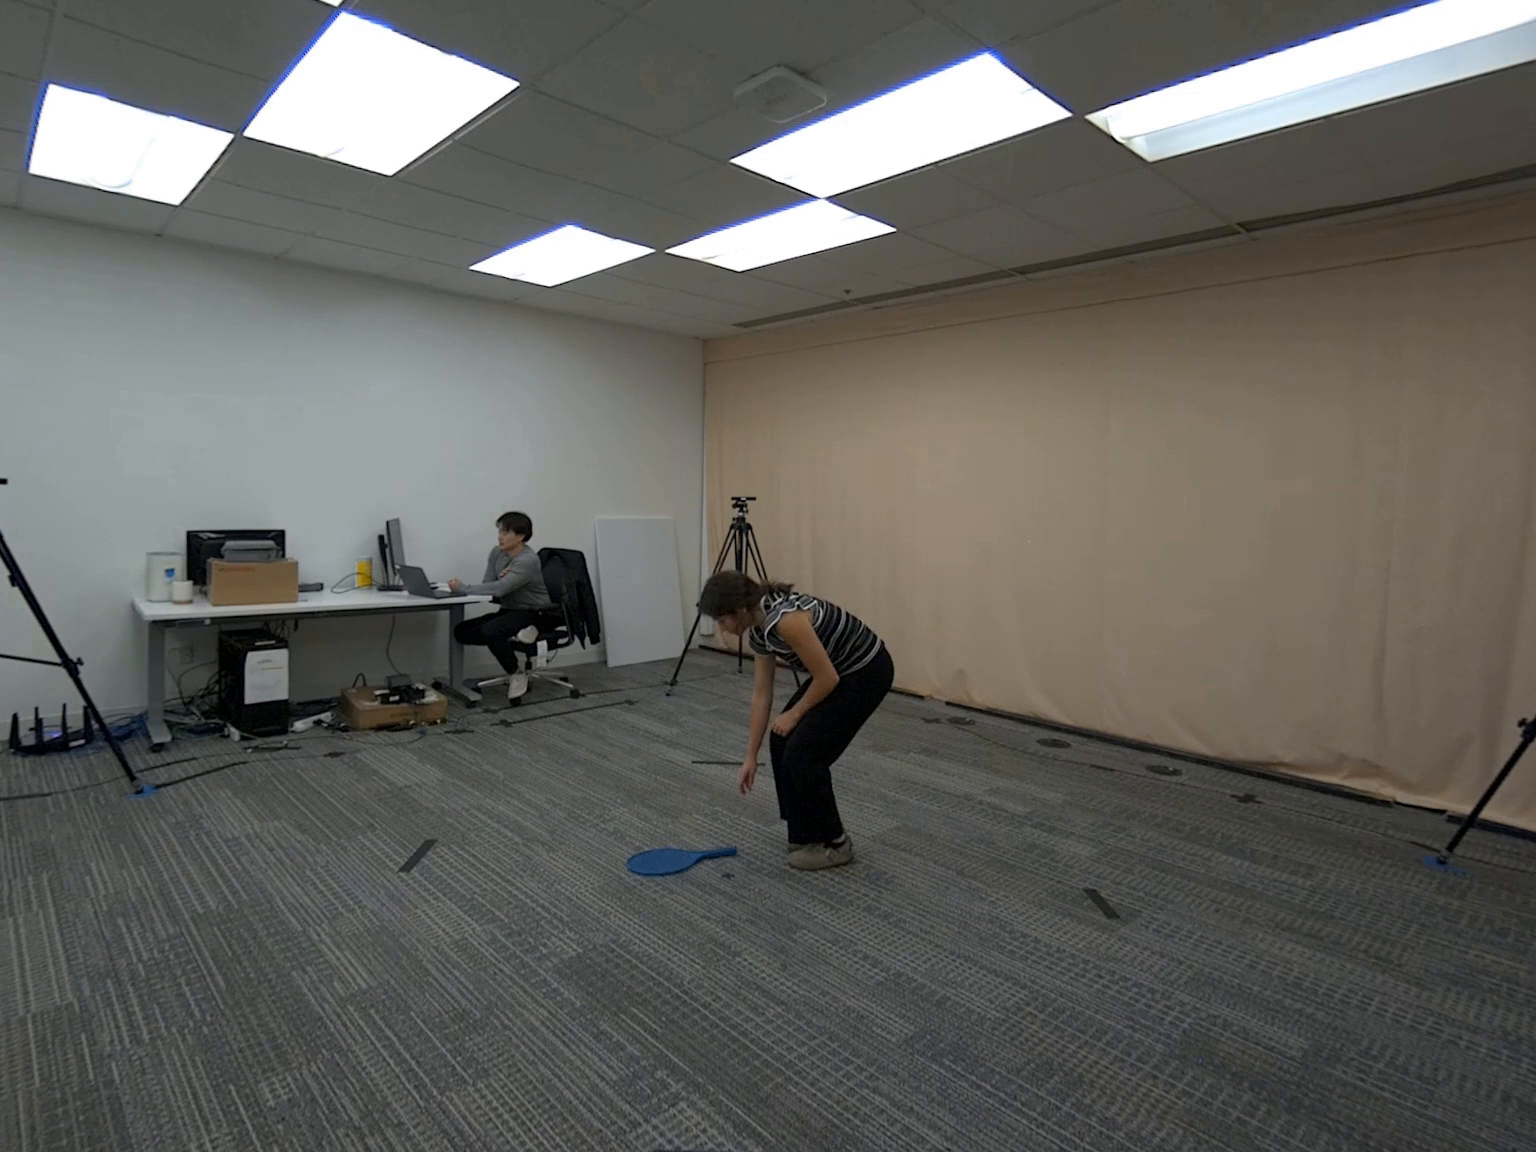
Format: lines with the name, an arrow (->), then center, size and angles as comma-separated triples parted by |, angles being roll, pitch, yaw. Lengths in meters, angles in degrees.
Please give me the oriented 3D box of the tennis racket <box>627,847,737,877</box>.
tennis racket -> -0.336, 1.079, 3.218 | 0.427, 0.031, 0.217 | -1, 7, -19
